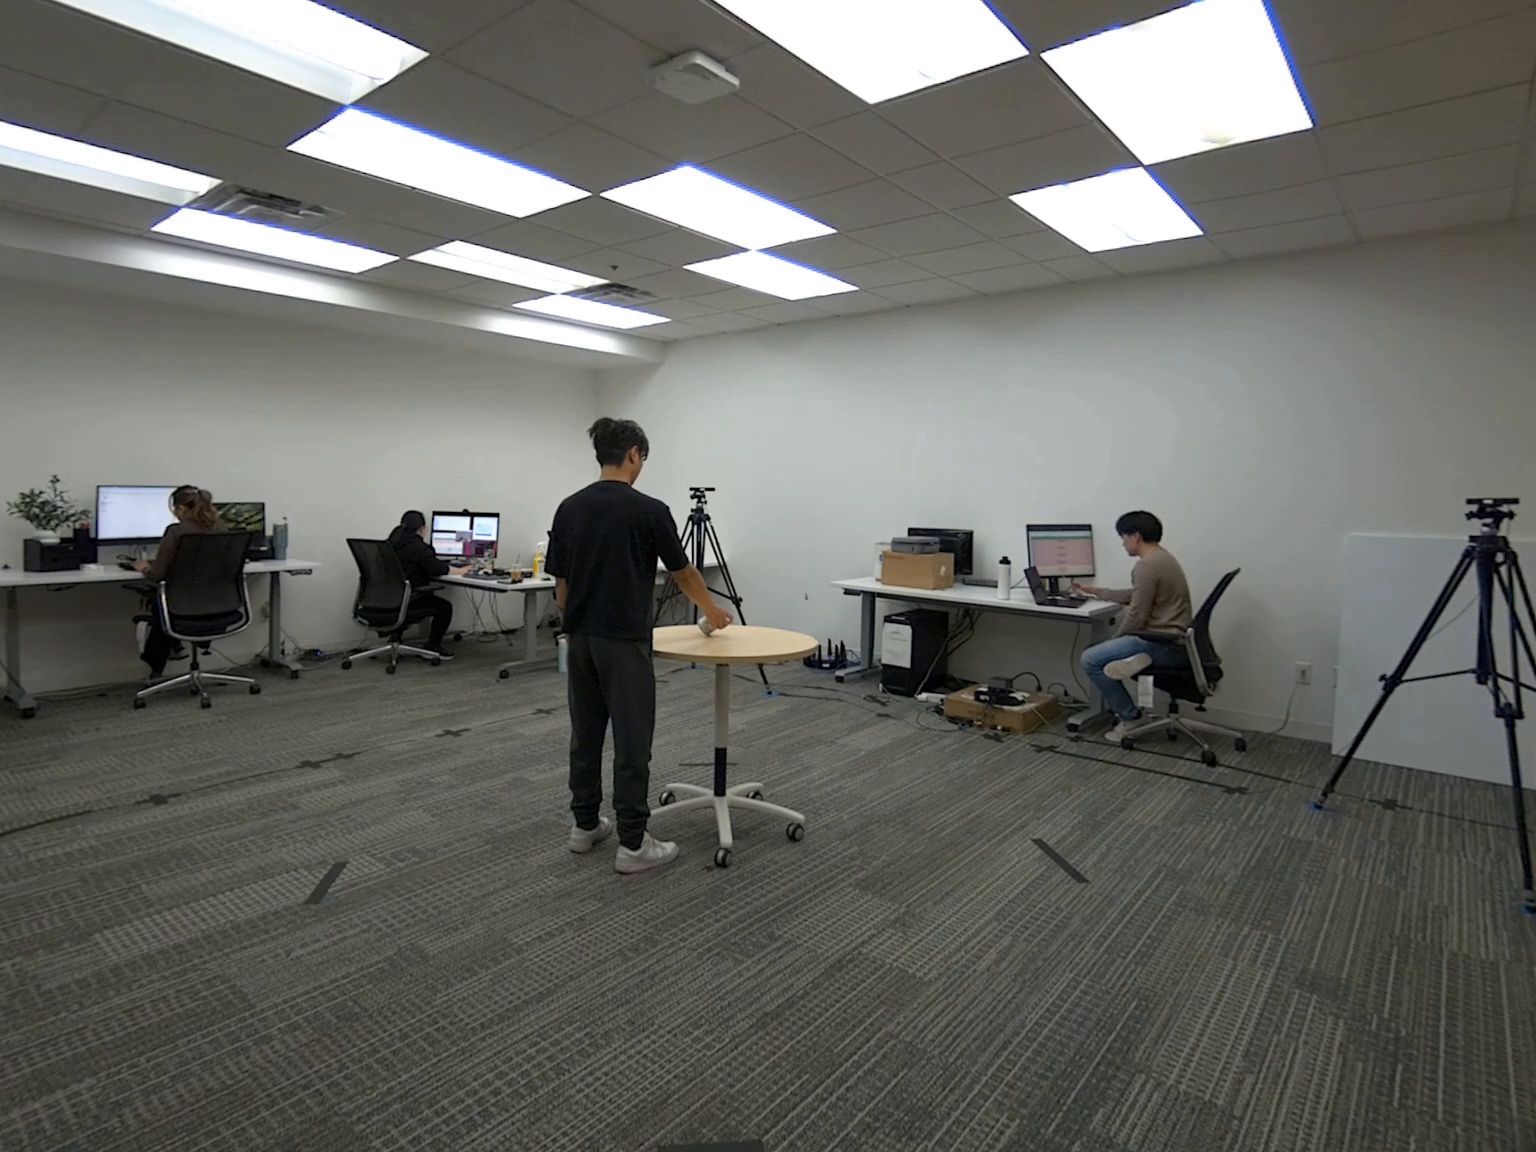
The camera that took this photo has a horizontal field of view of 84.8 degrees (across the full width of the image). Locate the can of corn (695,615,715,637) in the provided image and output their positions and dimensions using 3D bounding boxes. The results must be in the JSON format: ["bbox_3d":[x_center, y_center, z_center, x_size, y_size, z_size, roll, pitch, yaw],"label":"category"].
[{"bbox_3d":[-0.237,0.182,3.526,0.112,0.075,0.073,-32,-8,19],"label":"can of corn"}]
